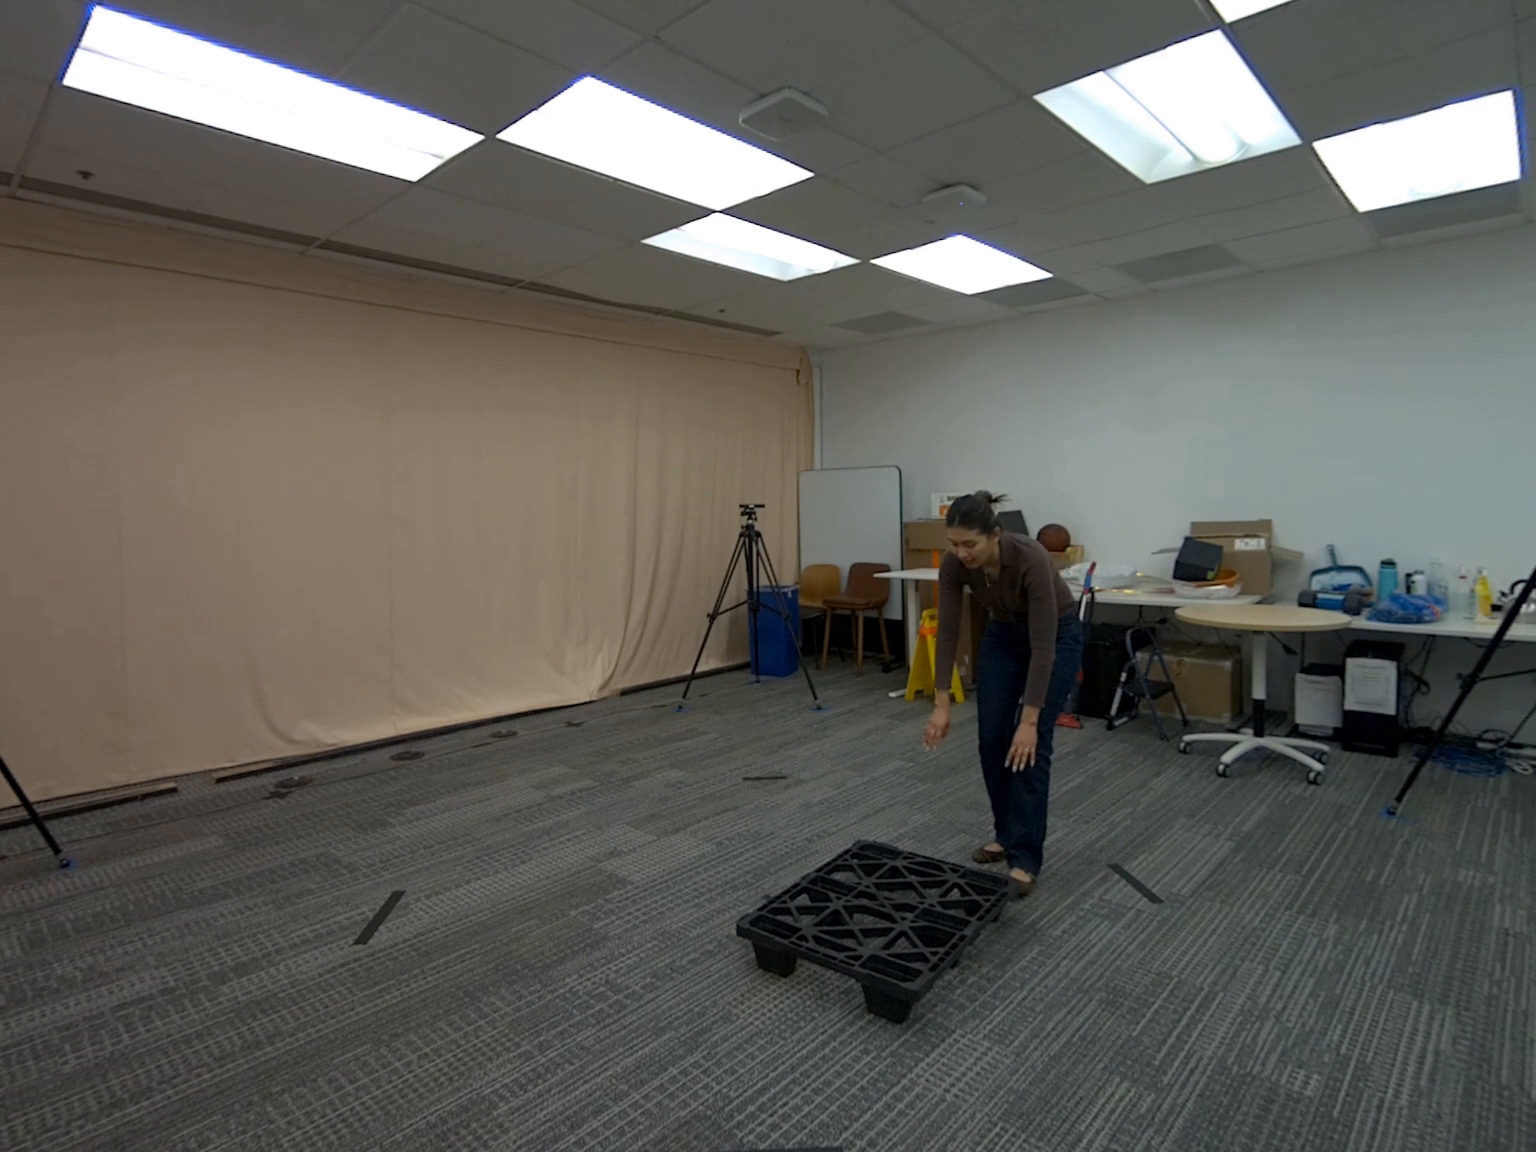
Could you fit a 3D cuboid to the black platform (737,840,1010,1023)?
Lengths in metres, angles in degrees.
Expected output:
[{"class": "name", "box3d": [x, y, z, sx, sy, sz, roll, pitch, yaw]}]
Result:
[{"class": "black platform", "box3d": [0.378, 1.094, 2.666, 0.625, 0.143, 0.782, 4, 7, 36]}]
